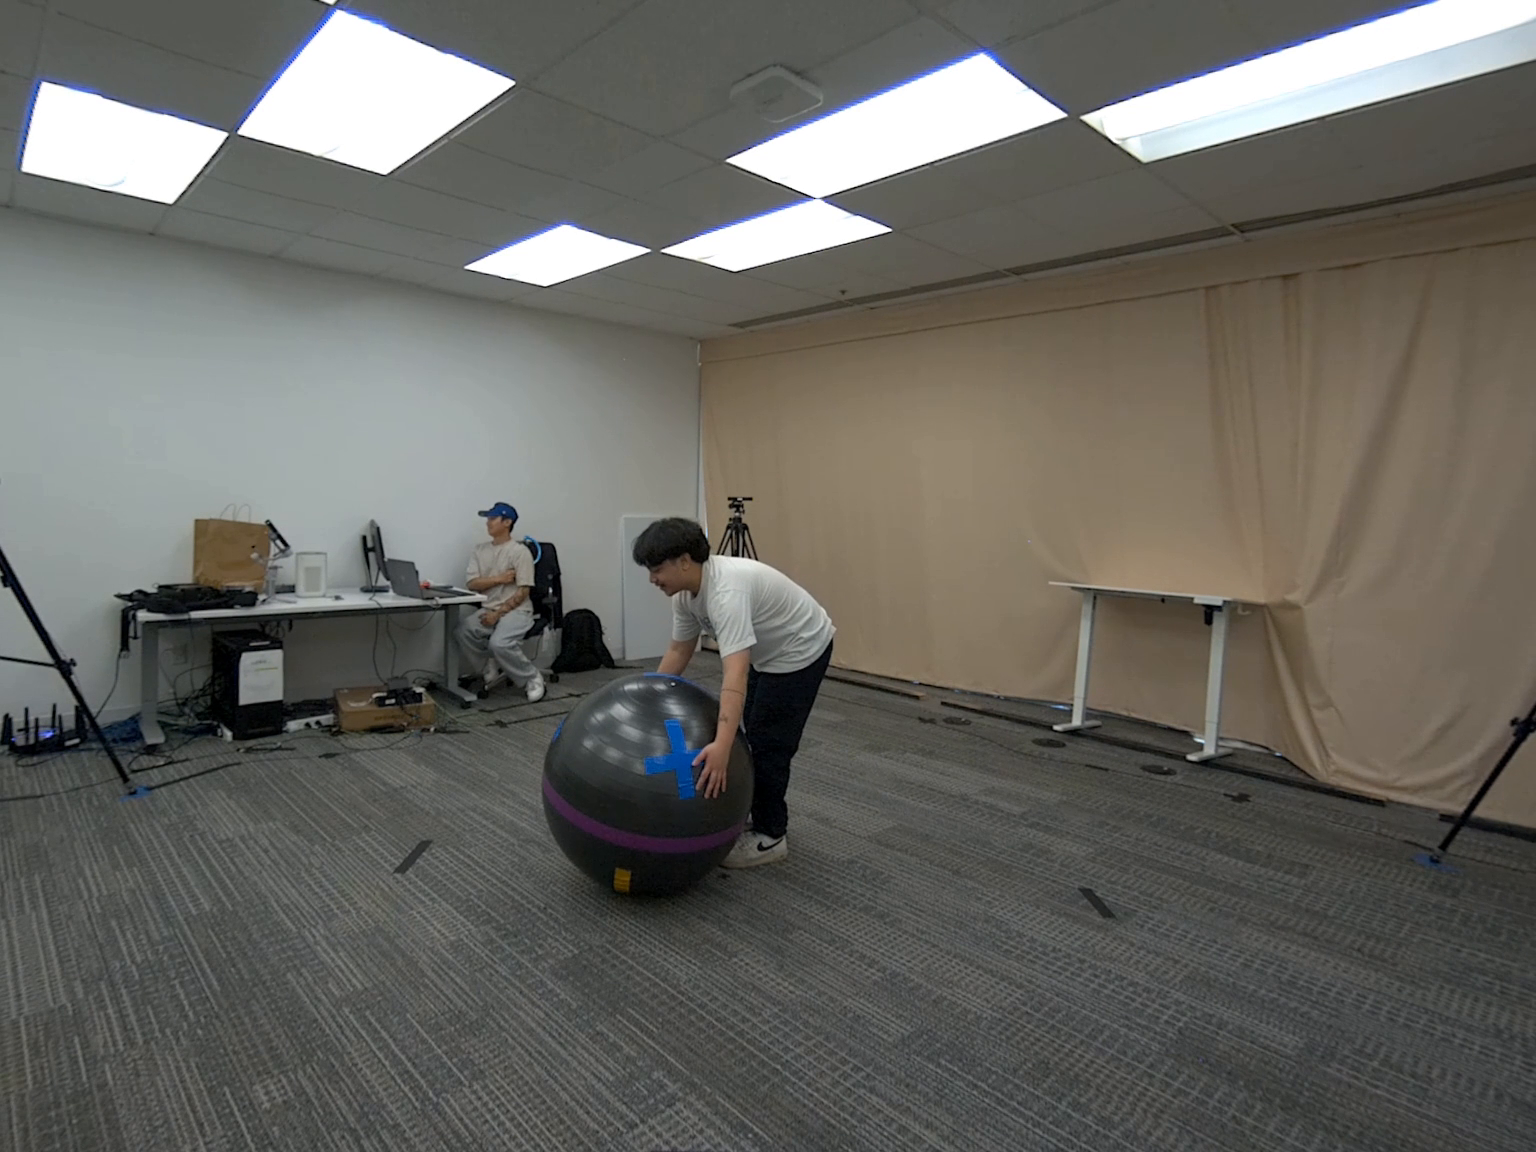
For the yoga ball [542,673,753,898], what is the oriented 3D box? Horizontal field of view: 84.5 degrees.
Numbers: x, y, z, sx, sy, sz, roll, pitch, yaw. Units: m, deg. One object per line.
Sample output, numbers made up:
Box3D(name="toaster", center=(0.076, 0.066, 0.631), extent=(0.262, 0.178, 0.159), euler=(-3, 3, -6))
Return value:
Box3D(name="yoga ball", center=(-0.435, 0.736, 3.018), extent=(0.757, 0.756, 0.761), euler=(1, 4, -1))
